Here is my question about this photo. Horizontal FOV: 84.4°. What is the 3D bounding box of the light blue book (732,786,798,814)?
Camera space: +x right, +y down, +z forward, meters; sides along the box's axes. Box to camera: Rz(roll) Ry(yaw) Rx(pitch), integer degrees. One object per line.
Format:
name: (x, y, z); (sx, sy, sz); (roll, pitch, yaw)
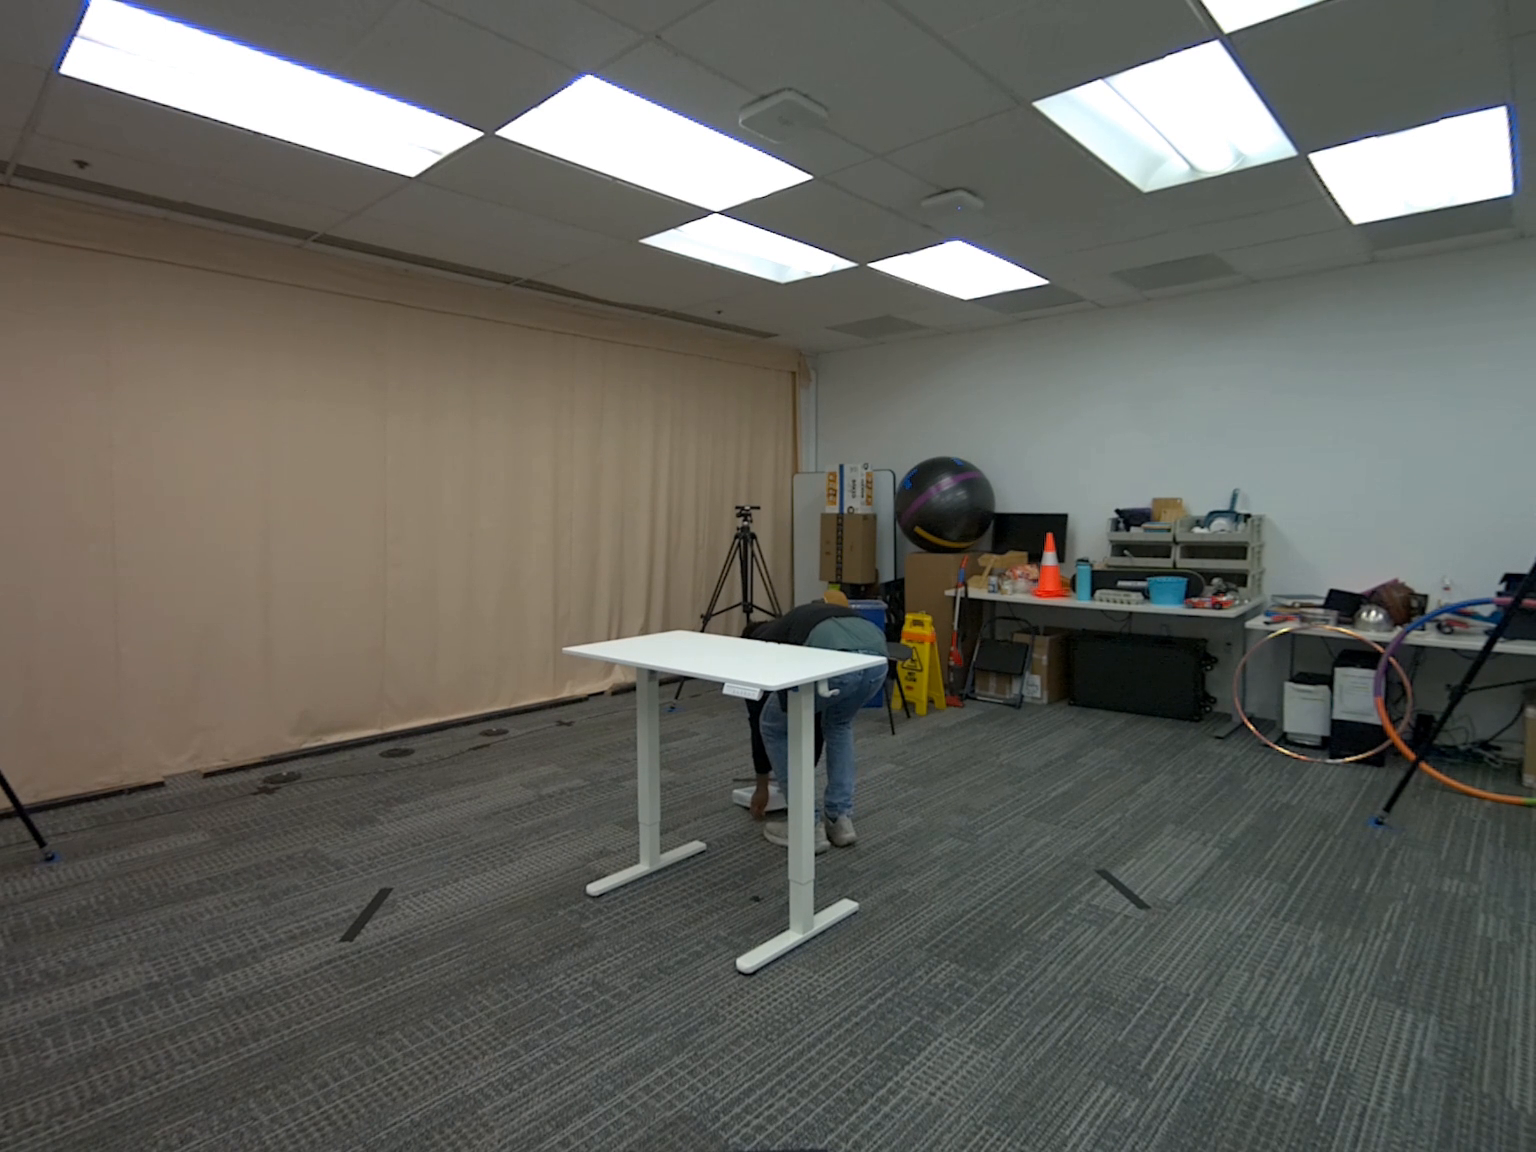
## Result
light blue book: (-0.019, 1.024, 3.894); (0.186, 0.059, 0.267); (-2, -3, -30)
